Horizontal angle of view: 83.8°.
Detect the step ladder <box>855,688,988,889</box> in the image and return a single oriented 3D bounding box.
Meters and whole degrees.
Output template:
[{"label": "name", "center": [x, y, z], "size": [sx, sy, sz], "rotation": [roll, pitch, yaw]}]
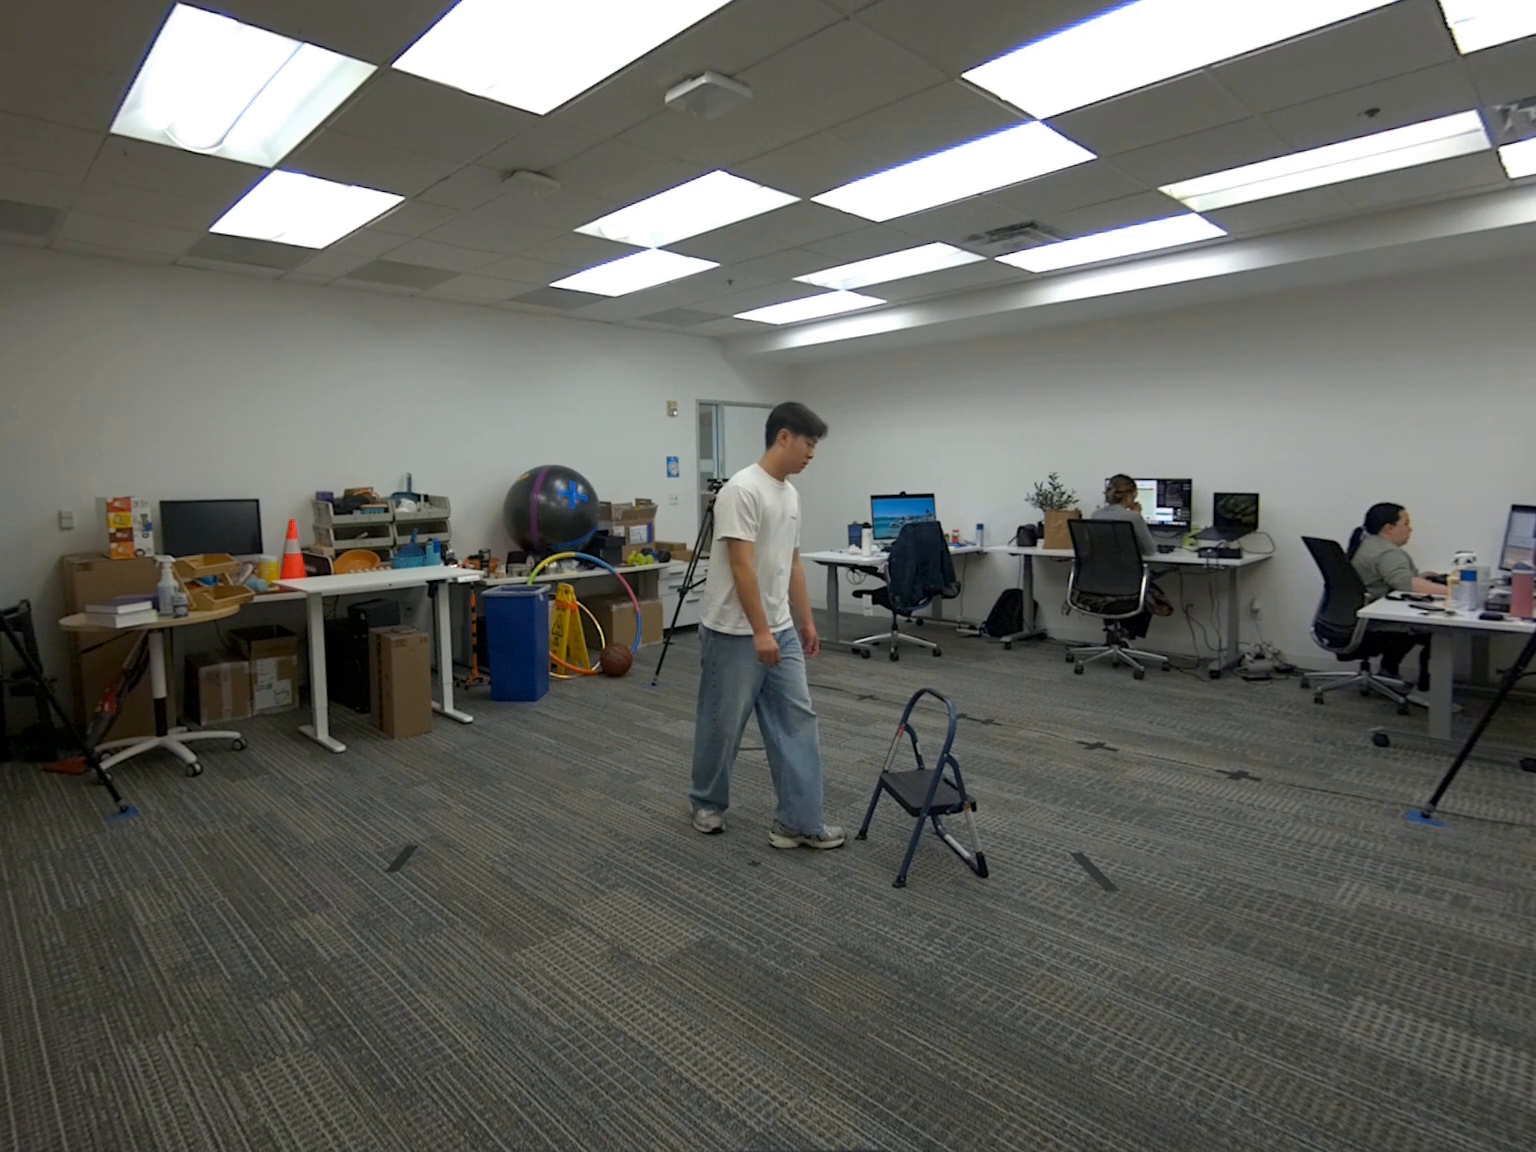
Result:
[{"label": "step ladder", "center": [0.555, 0.734, 3.112], "size": [0.346, 0.603, 0.437], "rotation": [-1, 5, -12]}]
